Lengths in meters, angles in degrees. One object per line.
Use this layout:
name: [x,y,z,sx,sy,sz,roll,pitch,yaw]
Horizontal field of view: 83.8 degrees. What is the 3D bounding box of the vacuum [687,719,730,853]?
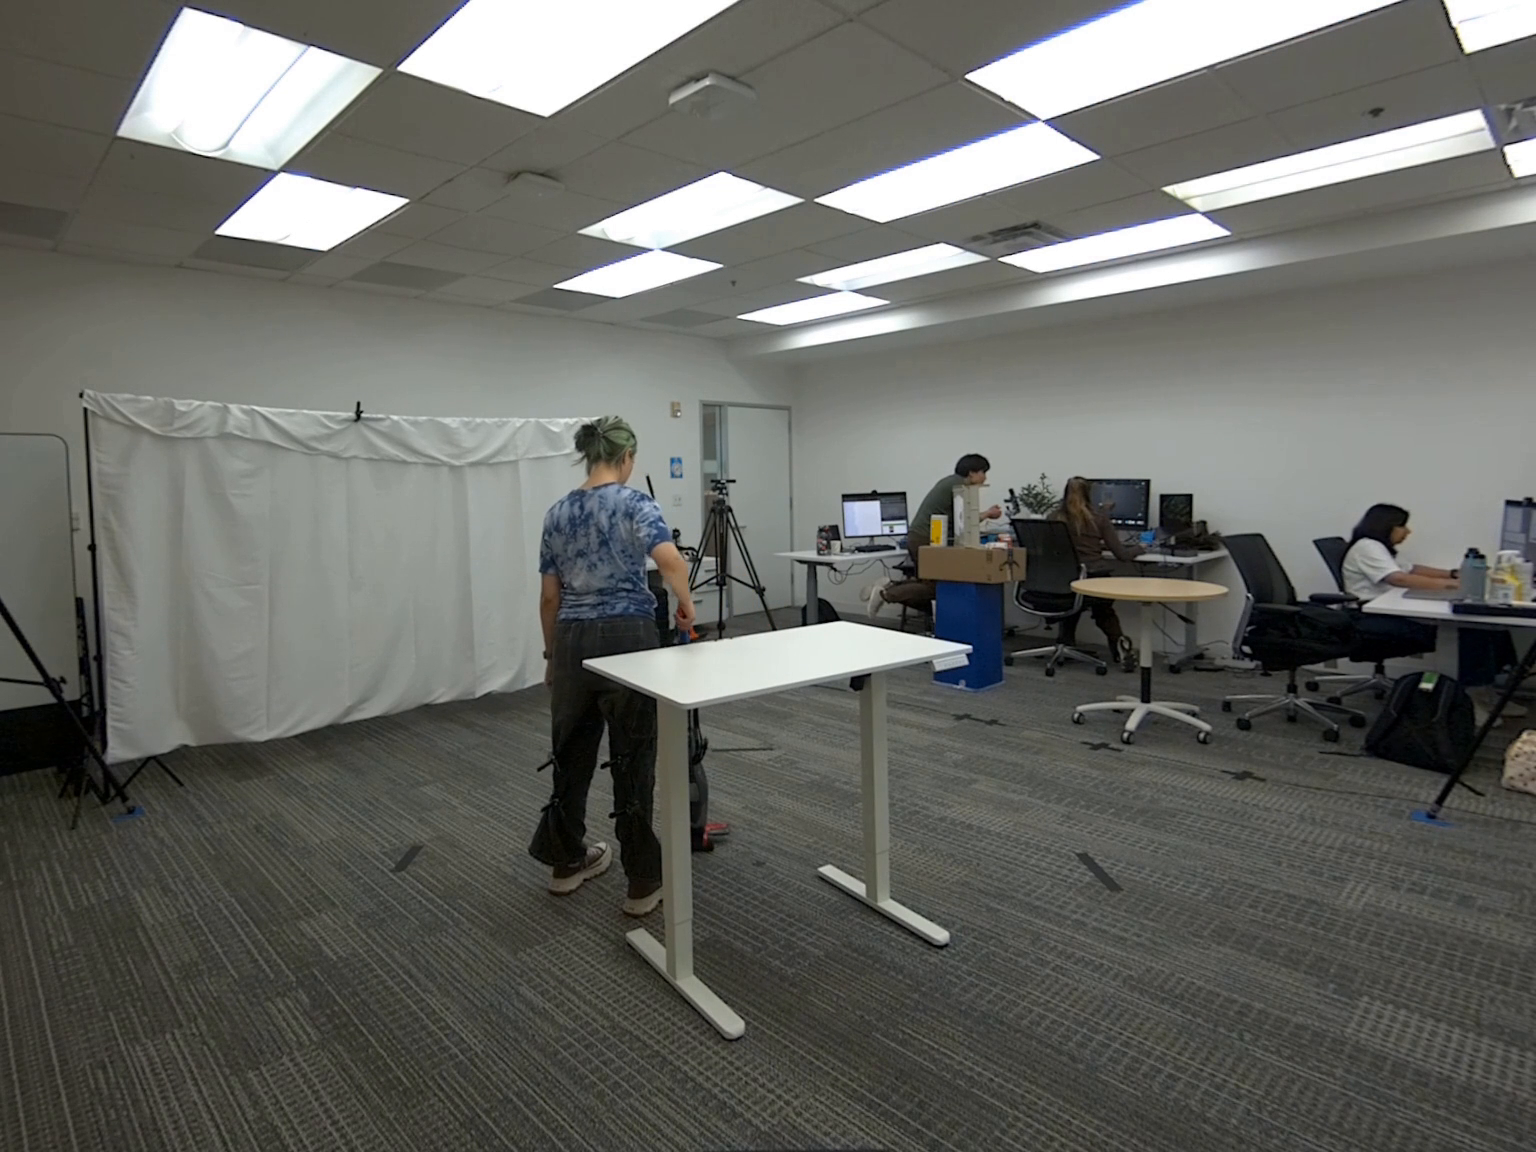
vacuum: [-0.275,0.577,3.044,0.253,1.024,0.147,-1,29,1]
